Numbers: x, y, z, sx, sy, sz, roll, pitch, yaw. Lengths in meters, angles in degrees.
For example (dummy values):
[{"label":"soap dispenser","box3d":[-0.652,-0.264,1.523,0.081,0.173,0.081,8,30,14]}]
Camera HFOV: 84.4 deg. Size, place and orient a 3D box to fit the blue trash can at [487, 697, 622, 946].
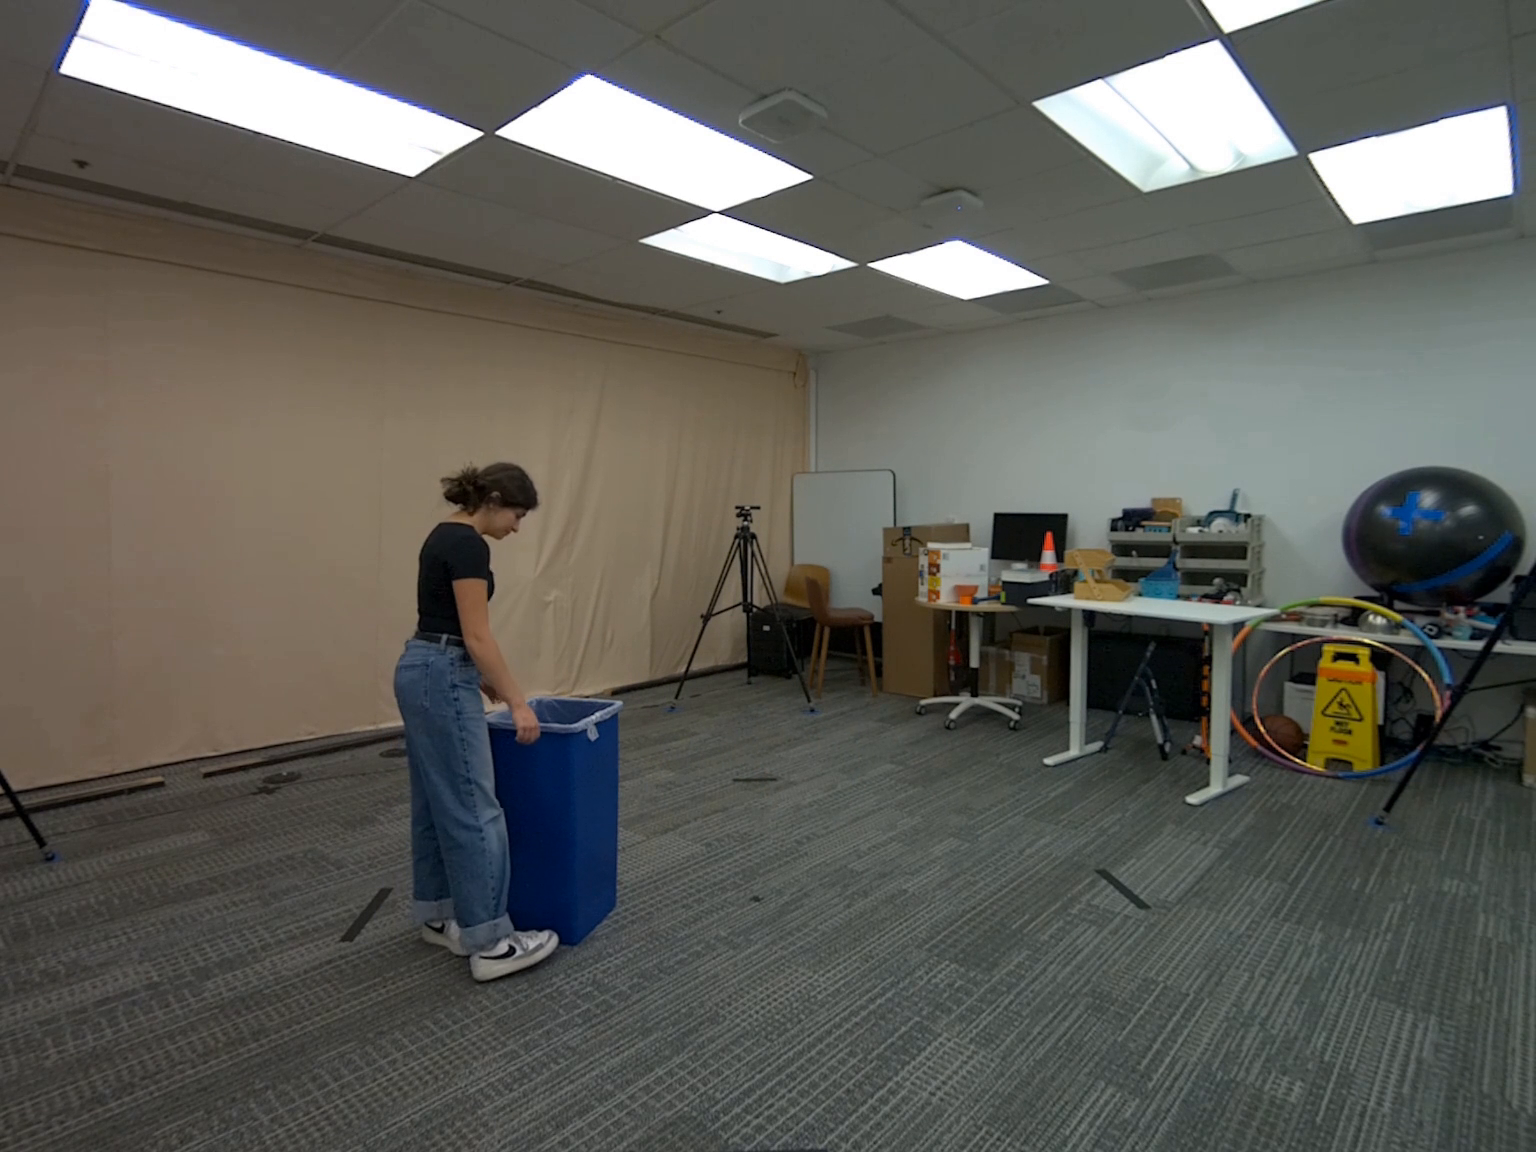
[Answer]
[{"label":"blue trash can","box3d":[-0.723,0.805,2.836,0.381,0.712,0.371,1,3,18]}]
